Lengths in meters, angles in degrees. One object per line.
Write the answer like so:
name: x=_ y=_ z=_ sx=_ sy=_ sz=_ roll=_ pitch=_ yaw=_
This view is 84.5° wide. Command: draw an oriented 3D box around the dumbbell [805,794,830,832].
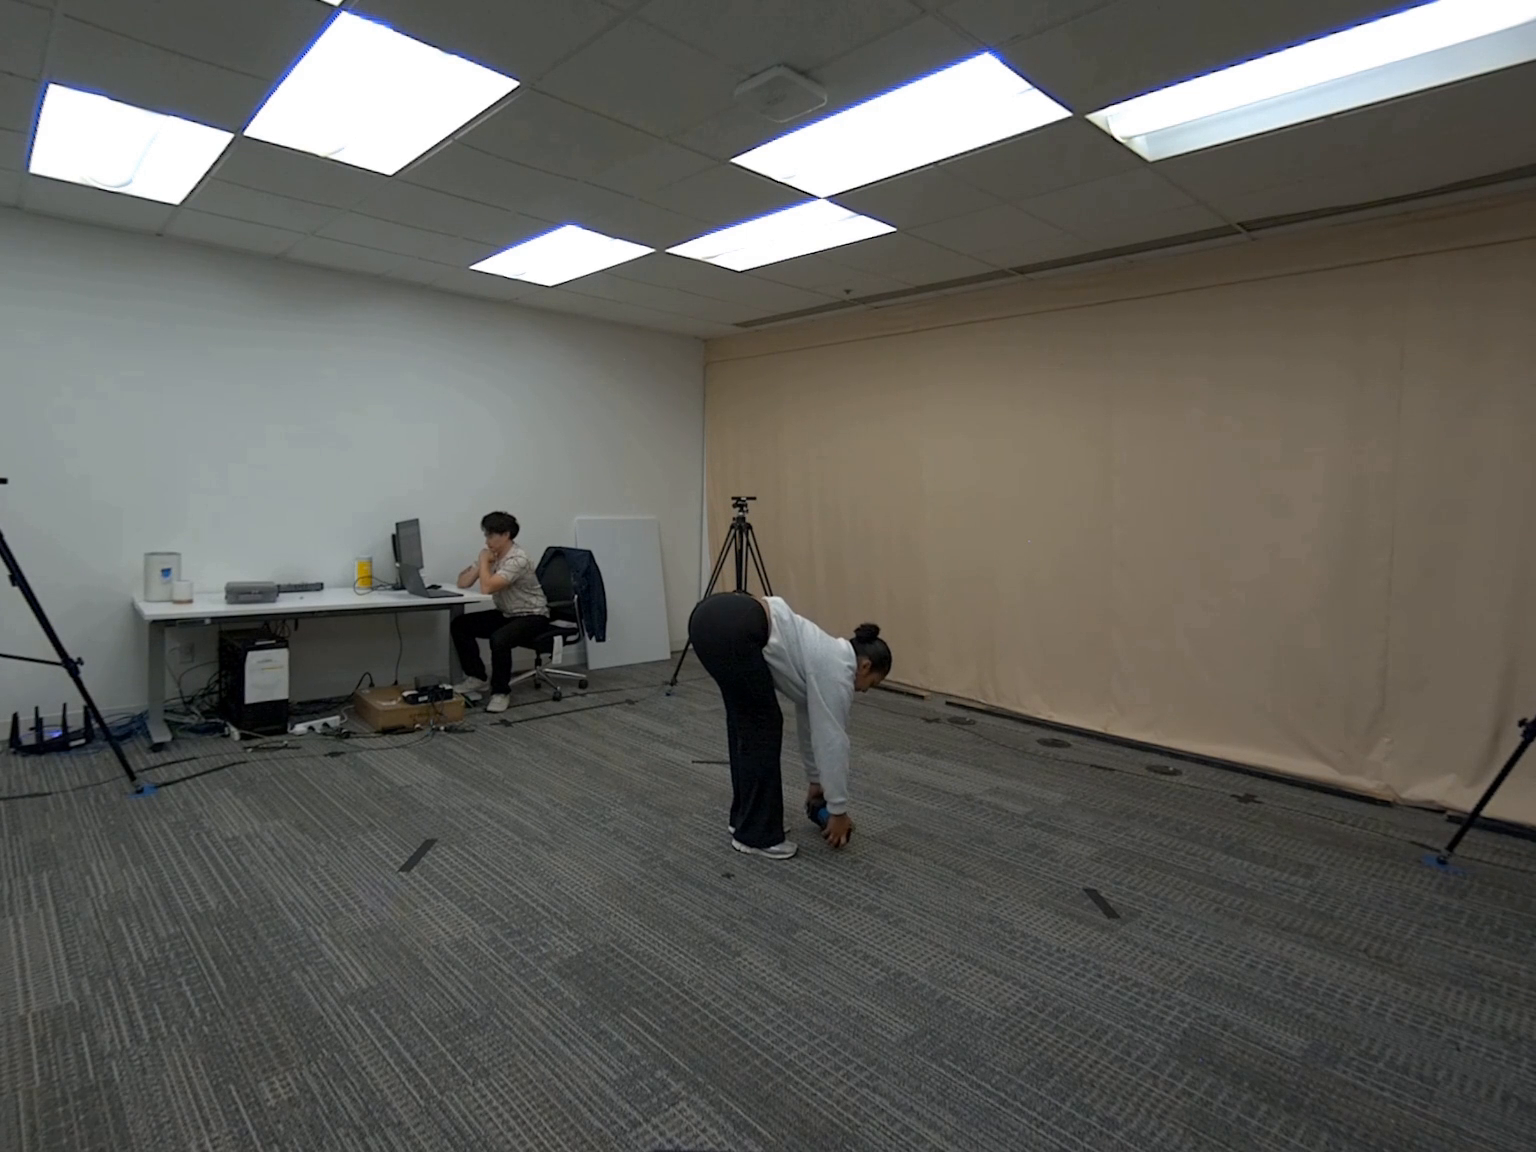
dumbbell: x=0.230 y=1.001 z=3.456 sx=0.121 sy=0.108 sz=0.297 roll=46 pitch=-6 yaw=-11
